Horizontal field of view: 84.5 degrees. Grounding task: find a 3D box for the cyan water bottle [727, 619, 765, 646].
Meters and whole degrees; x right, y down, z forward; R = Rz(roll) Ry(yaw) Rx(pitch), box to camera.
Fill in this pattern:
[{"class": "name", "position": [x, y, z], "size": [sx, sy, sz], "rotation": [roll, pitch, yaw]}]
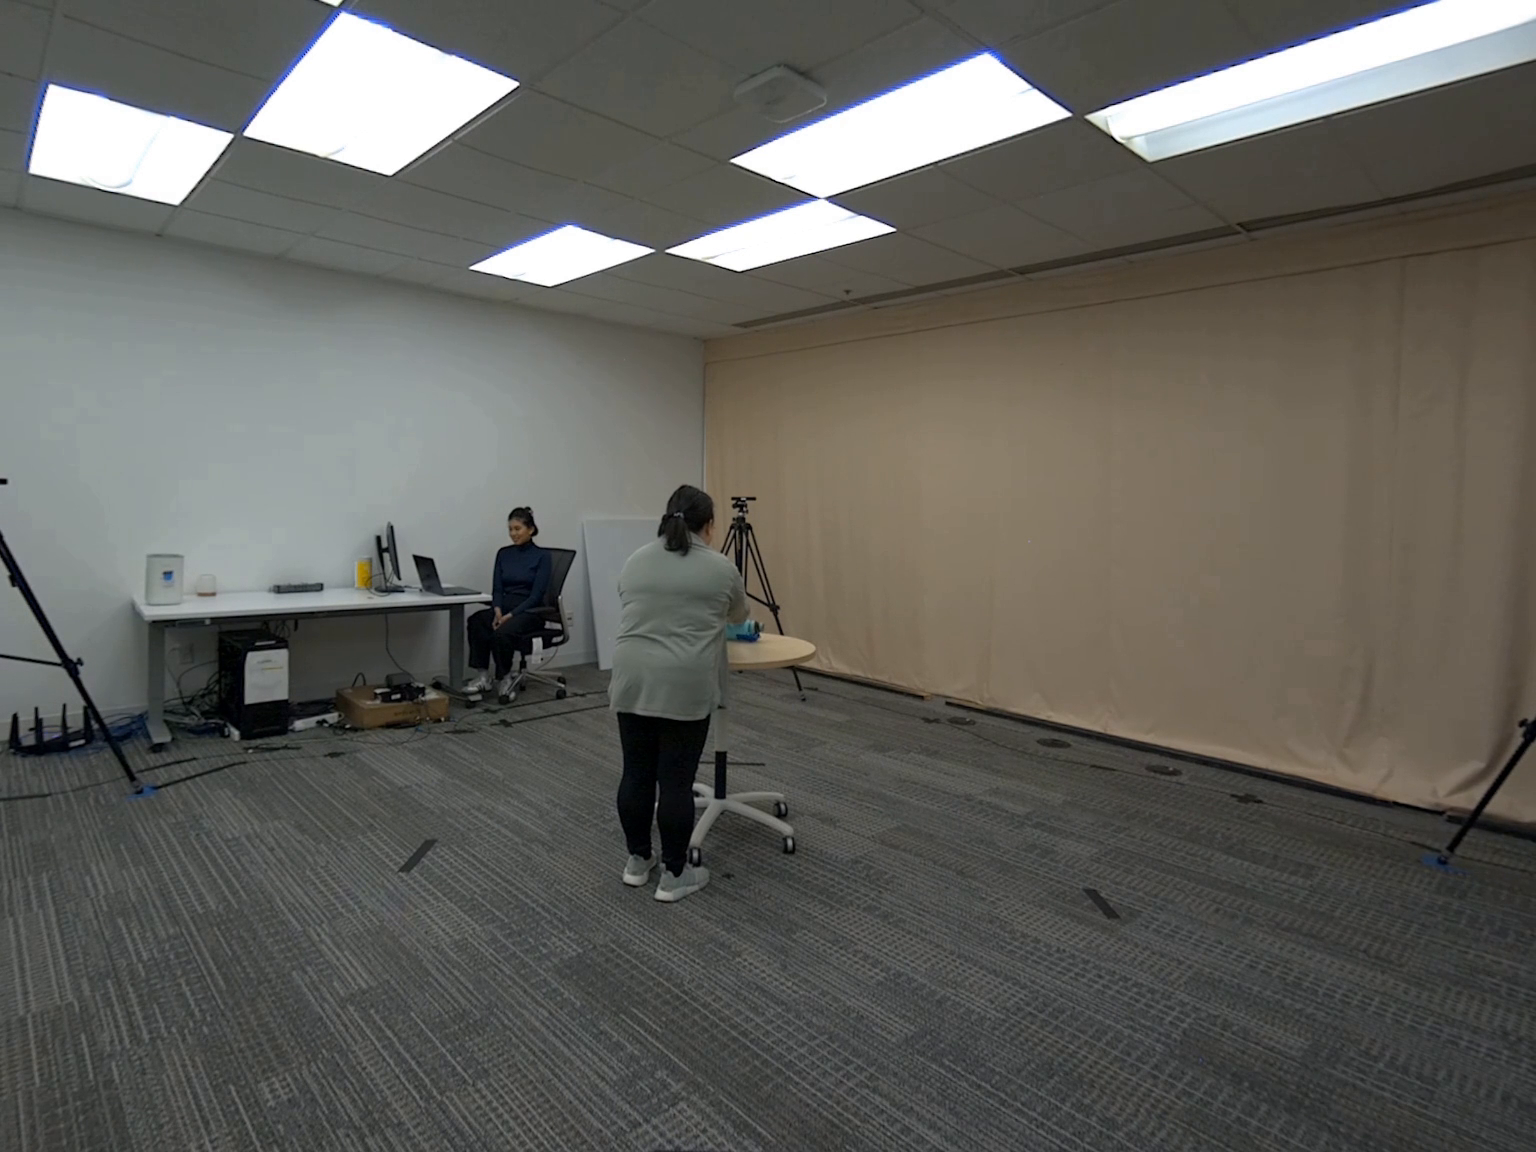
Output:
[{"class": "cyan water bottle", "position": [-0.166, 0.234, 3.623], "size": [0.287, 0.092, 0.091], "rotation": [3, 4, 14]}]
